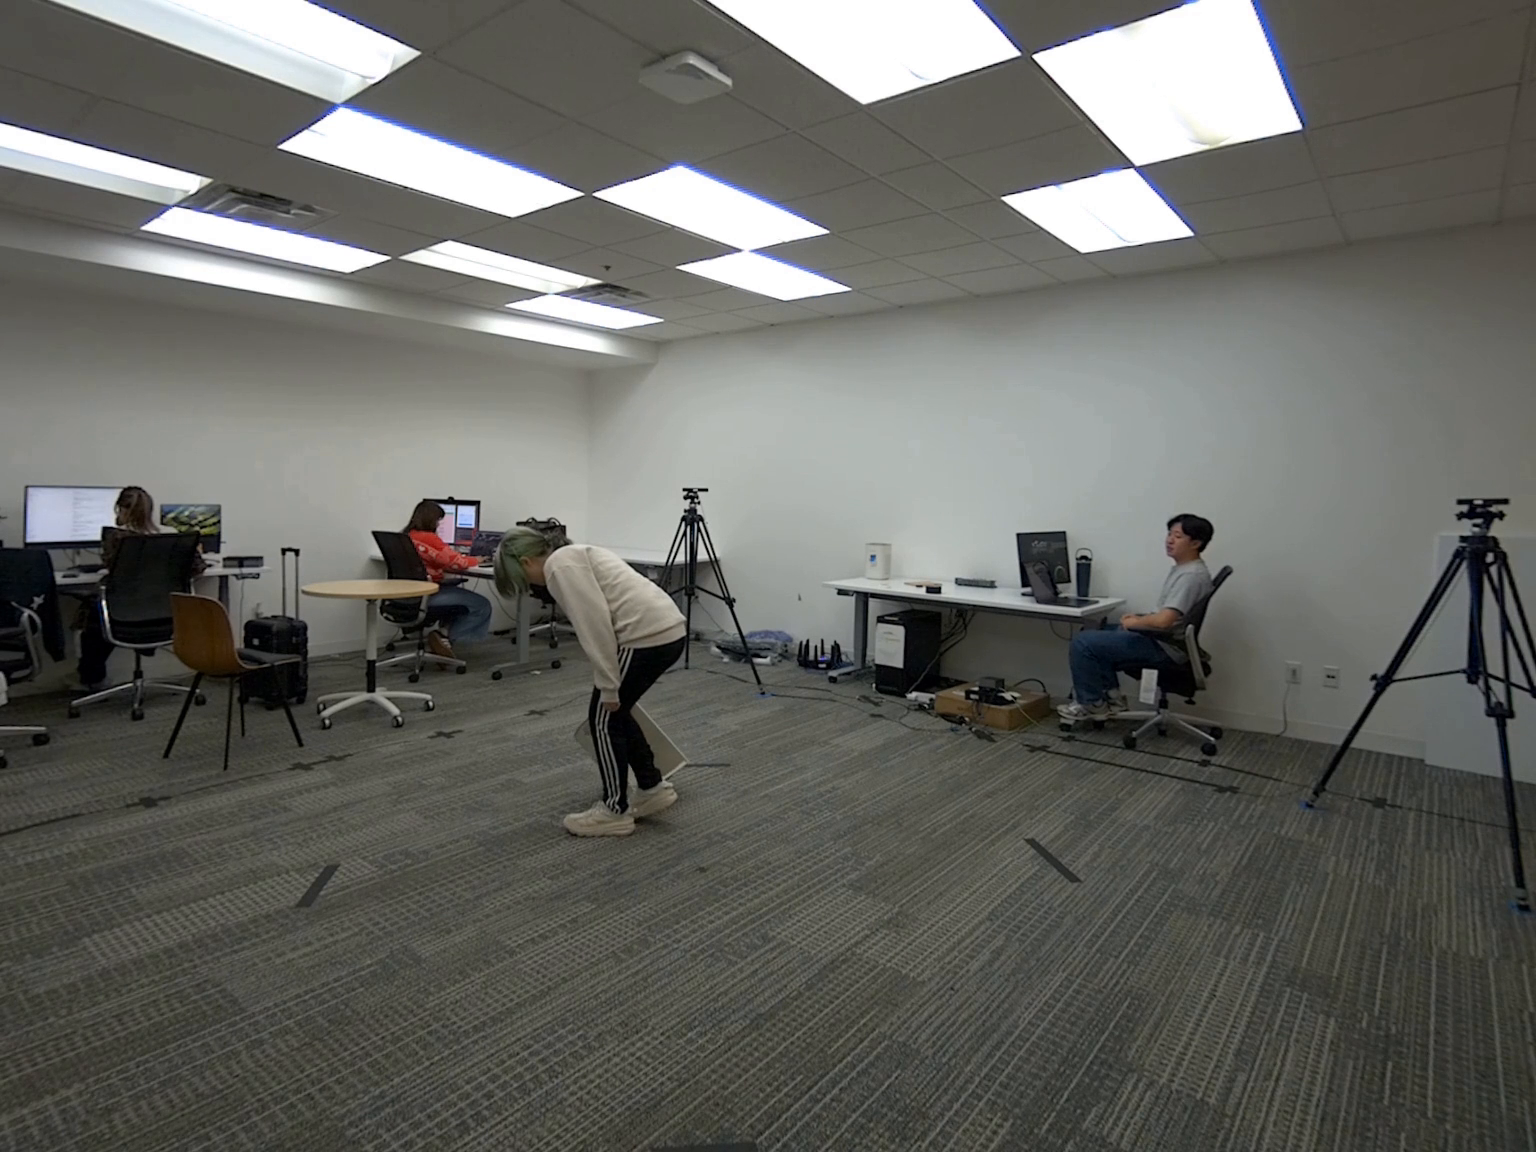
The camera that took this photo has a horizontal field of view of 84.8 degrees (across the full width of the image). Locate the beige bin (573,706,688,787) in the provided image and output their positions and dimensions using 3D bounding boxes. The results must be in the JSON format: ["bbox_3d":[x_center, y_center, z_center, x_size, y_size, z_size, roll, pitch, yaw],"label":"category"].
[{"bbox_3d":[-0.630,0.781,3.827,0.431,0.189,0.370,44,15,12],"label":"beige bin"}]
